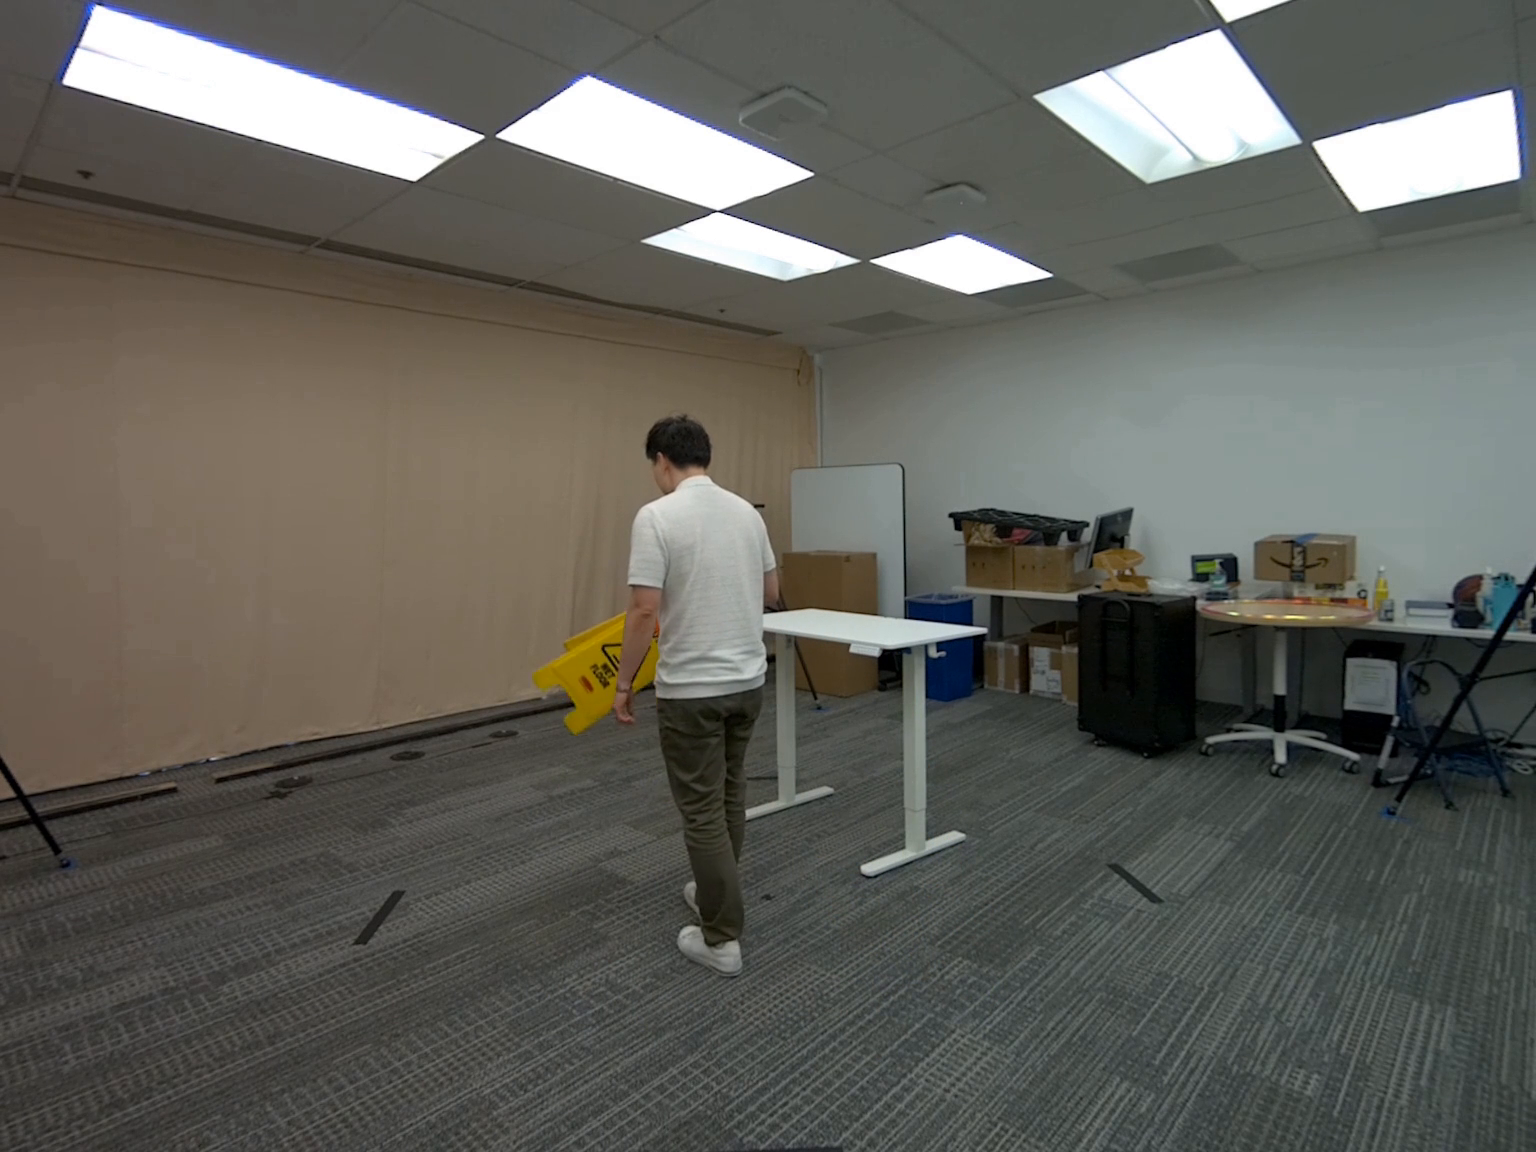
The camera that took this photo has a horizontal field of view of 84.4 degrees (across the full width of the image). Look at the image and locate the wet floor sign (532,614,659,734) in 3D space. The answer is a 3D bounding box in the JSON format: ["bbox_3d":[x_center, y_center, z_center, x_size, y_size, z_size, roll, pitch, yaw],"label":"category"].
[{"bbox_3d":[-0.500,0.268,3.108,0.653,0.280,0.289,-31,10,20],"label":"wet floor sign"}]
